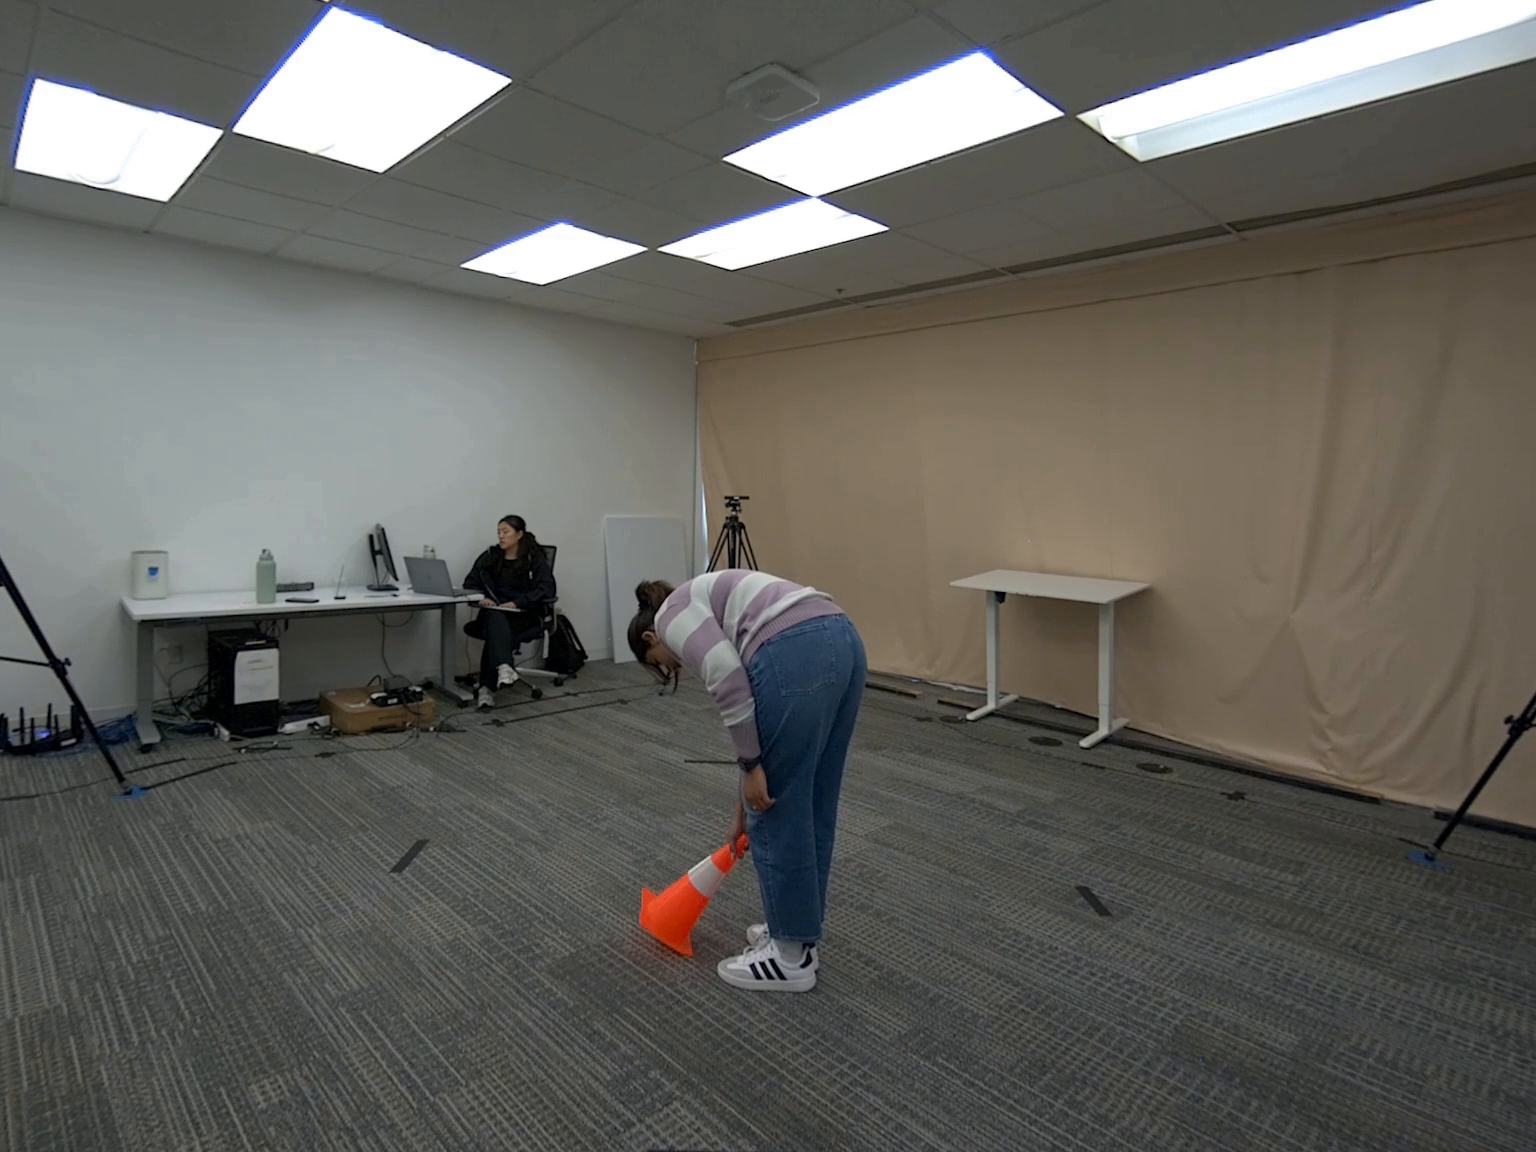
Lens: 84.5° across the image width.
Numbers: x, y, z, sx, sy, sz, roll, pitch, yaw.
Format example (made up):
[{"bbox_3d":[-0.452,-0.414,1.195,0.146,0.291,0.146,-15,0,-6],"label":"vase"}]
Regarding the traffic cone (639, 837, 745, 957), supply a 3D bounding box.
[{"bbox_3d":[-0.202,0.938,2.615,0.202,0.383,0.206,38,5,-13],"label":"traffic cone"}]
